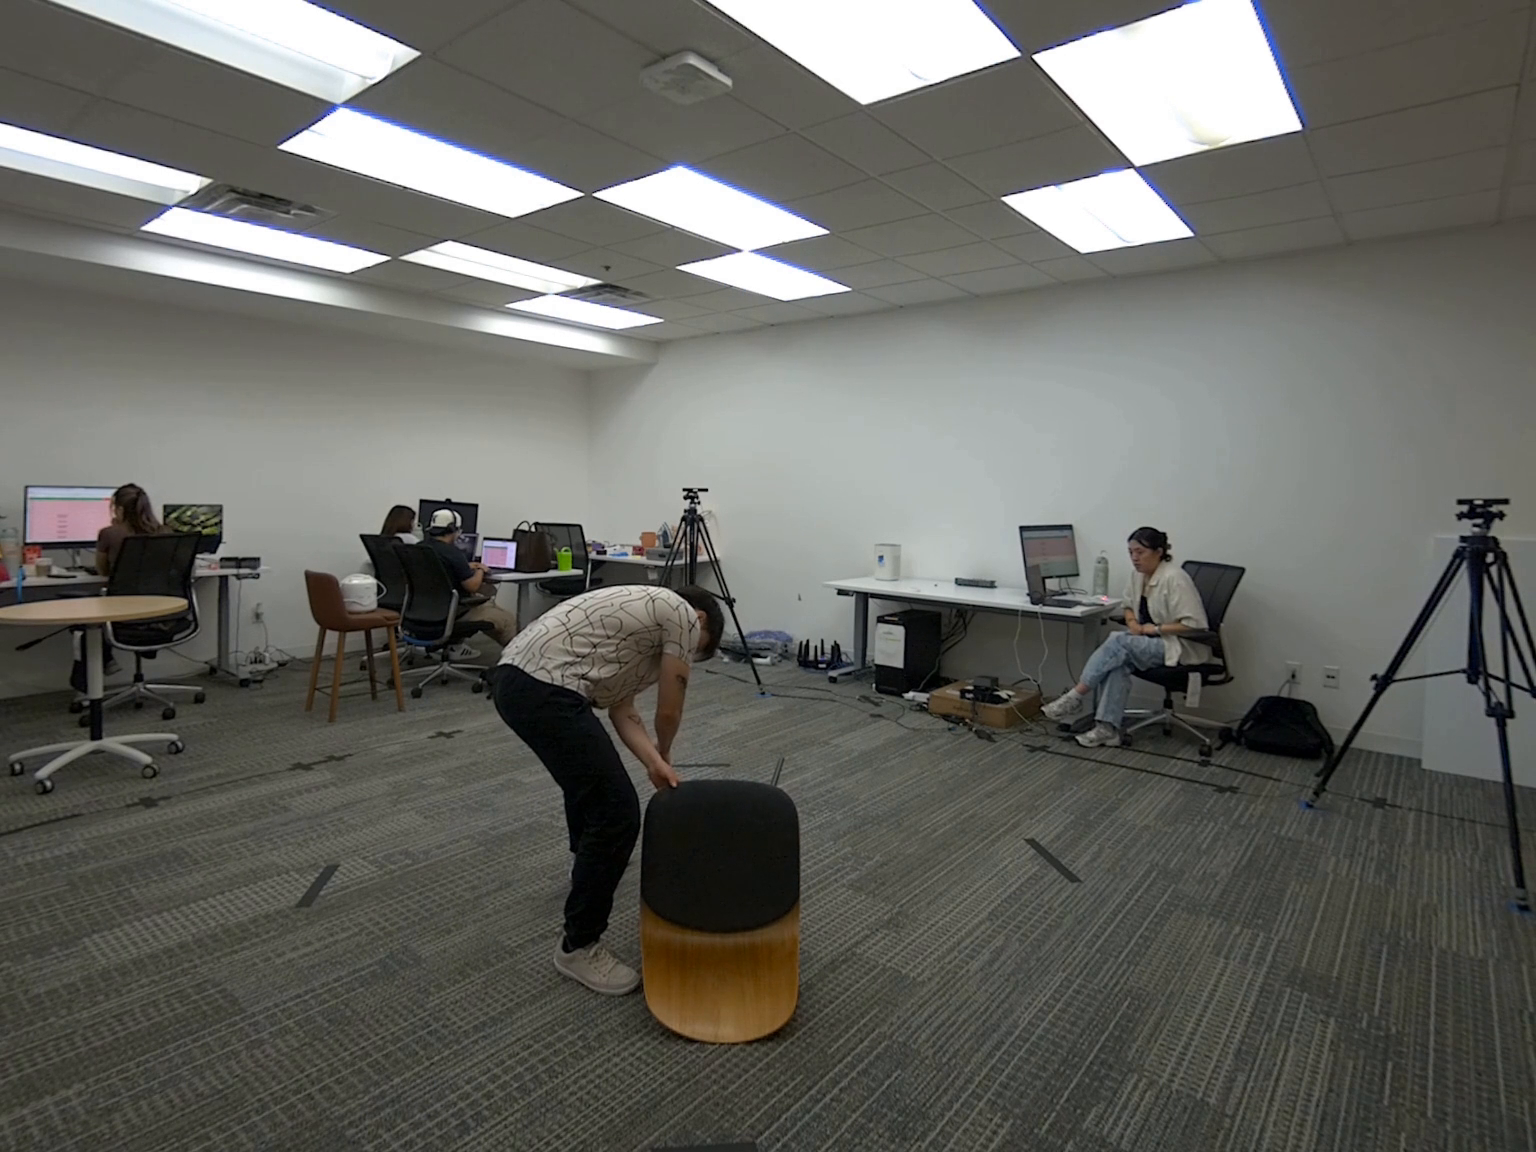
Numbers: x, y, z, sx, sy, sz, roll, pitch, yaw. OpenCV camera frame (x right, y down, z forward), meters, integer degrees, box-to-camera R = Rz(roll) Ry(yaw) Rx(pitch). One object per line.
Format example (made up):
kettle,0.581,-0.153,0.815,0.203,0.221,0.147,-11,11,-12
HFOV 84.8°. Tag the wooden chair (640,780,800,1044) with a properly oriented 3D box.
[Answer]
wooden chair,-0.148,0.873,2.541,0.477,0.520,0.884,2,7,-4
